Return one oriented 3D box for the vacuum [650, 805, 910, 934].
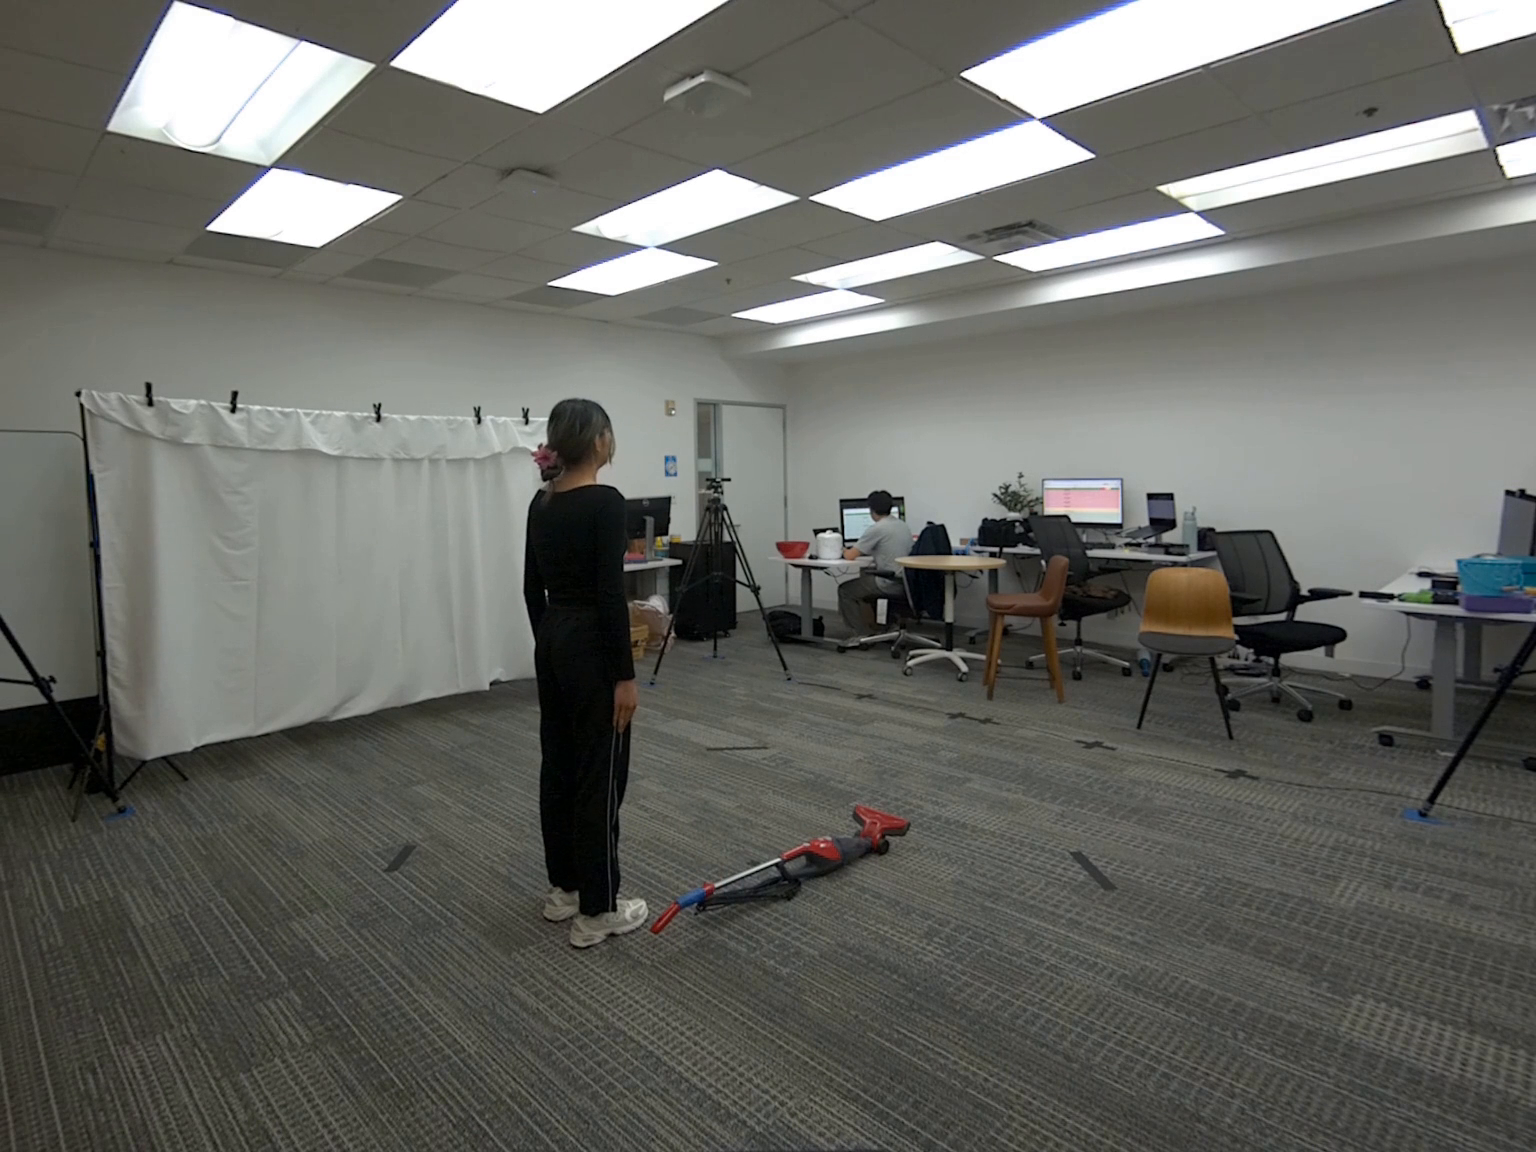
[{"bbox_3d":[0.051,1.010,2.890,1.023,0.143,0.260,-8,9,-41],"label":"vacuum"}]
